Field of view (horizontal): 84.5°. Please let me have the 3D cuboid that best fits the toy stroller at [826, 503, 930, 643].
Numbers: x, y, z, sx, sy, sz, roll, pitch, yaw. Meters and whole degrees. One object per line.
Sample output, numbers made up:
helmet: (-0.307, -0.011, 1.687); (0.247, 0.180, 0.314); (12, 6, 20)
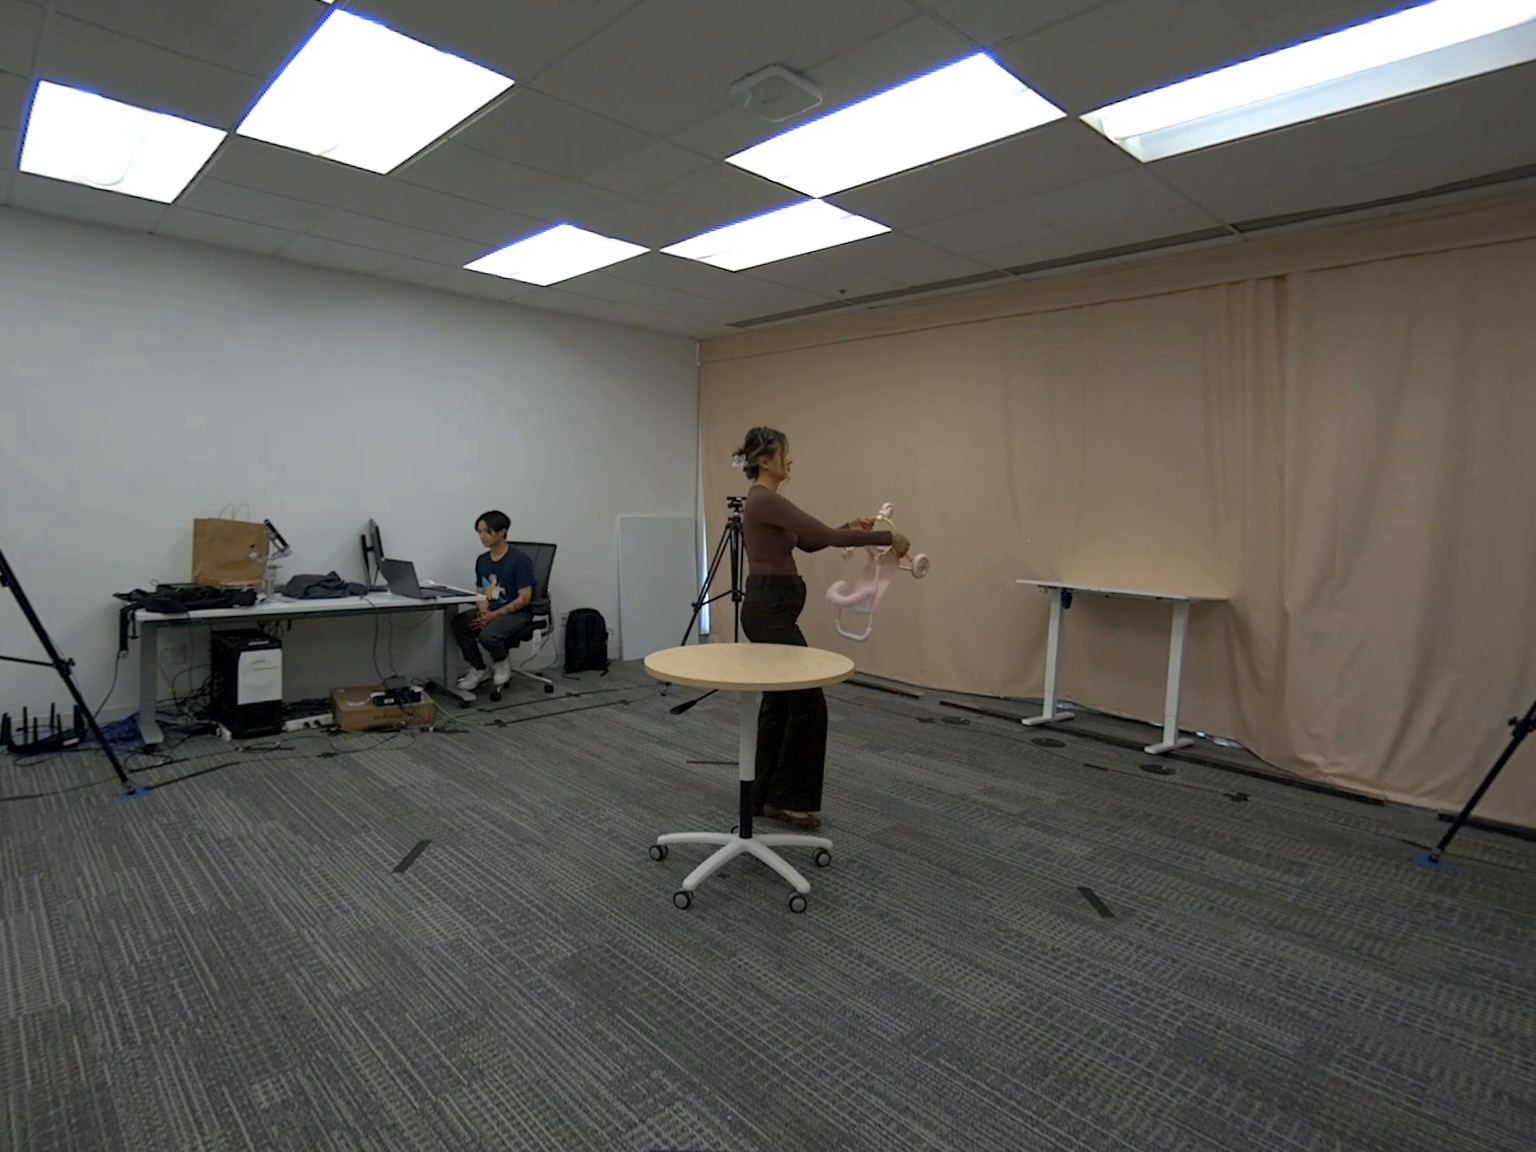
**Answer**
toy stroller: (0.443, -0.025, 3.640); (0.289, 0.535, 0.331); (16, -31, 47)
